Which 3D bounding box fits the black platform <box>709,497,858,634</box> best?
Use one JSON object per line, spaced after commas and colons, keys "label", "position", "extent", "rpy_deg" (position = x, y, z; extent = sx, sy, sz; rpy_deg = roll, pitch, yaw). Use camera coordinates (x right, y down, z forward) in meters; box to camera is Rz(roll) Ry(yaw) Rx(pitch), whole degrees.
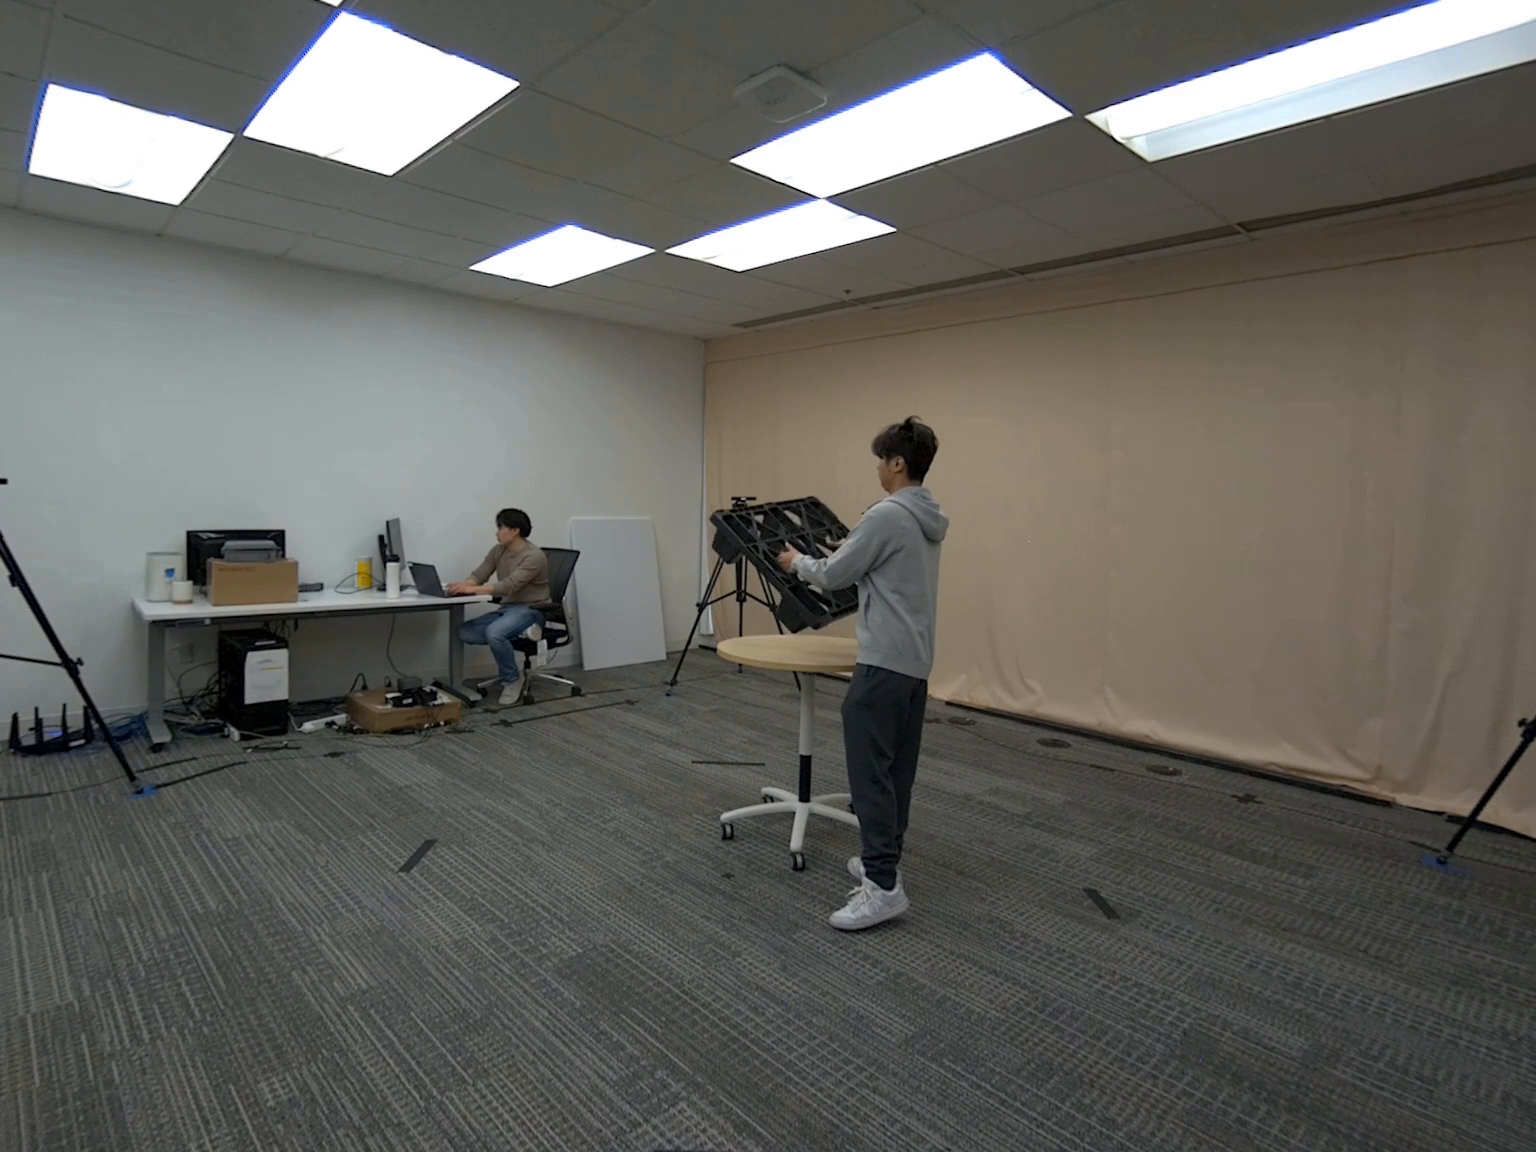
{"label": "black platform", "position": [0.160, -0.049, 3.419], "extent": [0.618, 0.143, 0.791], "rpy_deg": [47, 30, 19]}
